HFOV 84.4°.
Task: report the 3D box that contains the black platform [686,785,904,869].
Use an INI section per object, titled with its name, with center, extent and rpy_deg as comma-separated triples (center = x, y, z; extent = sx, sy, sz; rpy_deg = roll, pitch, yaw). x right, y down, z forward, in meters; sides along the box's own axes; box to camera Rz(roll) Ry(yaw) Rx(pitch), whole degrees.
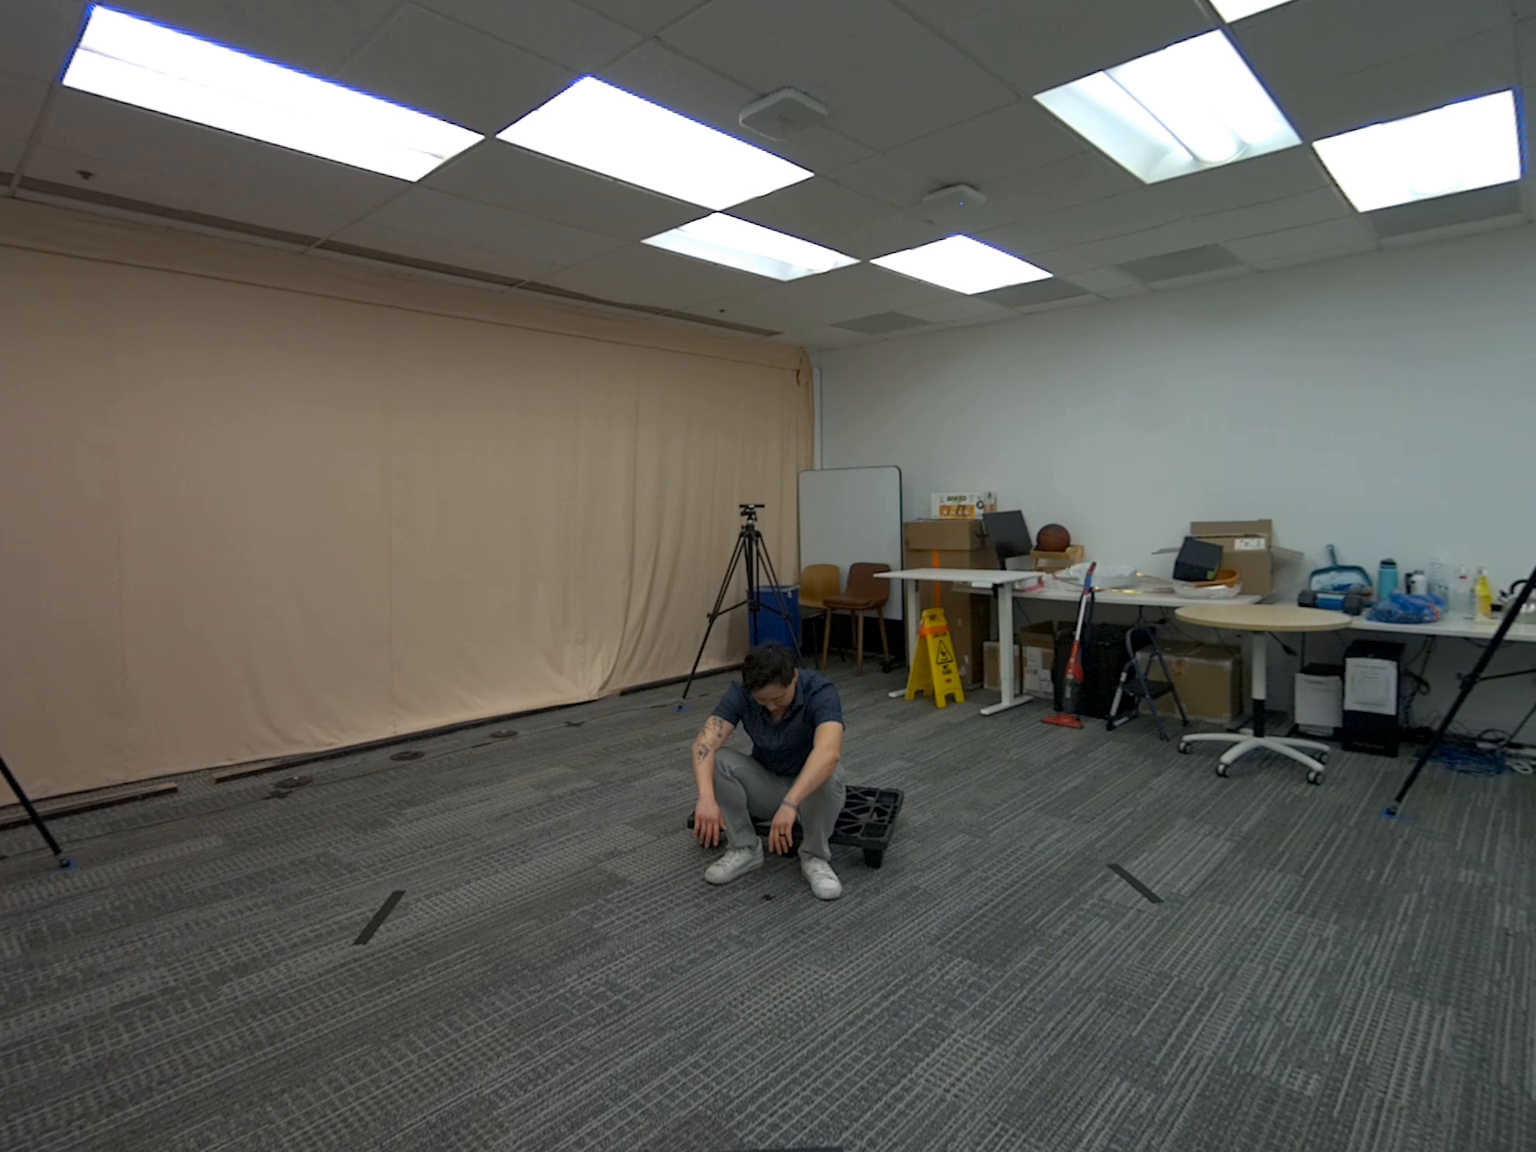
[black platform]
center = 0.142, 1.023, 3.532
extent = 0.821, 0.143, 0.595
rpy_deg = 1, 5, 17
